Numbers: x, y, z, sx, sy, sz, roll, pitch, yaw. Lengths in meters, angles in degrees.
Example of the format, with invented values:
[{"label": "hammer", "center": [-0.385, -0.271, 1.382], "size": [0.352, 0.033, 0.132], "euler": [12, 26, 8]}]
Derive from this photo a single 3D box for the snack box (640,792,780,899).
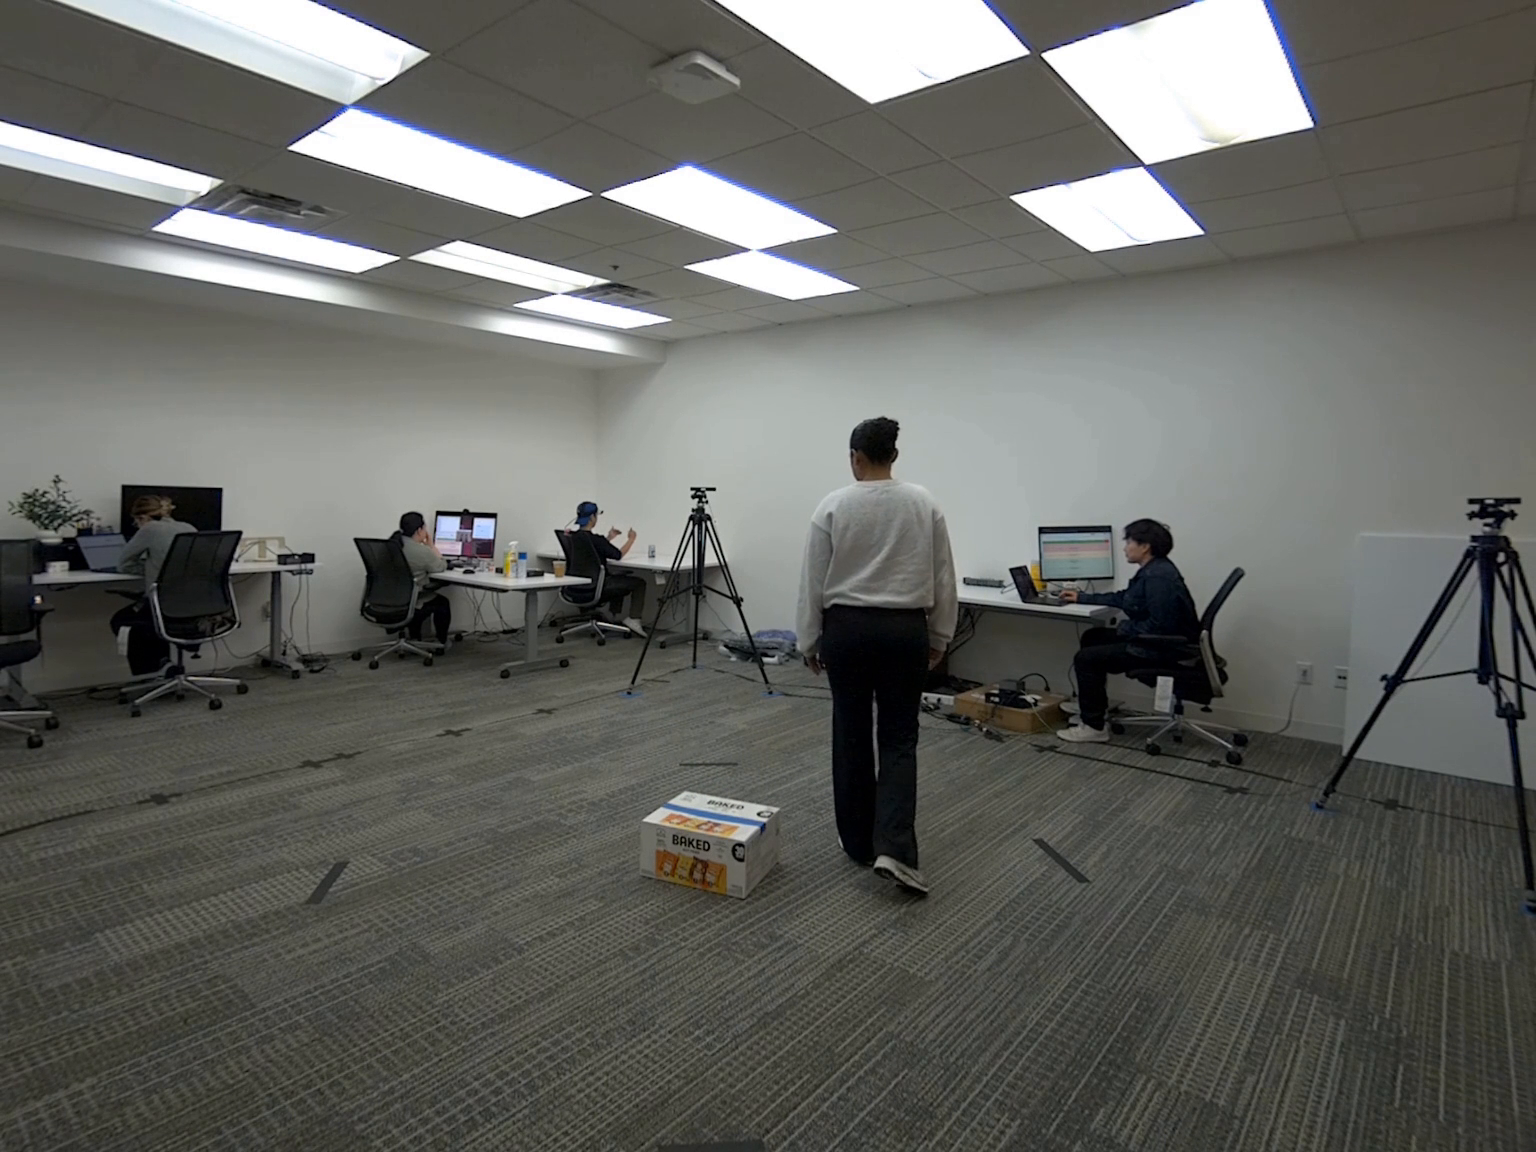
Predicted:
[{"label": "snack box", "center": [-0.215, 0.966, 3.100], "size": [0.415, 0.205, 0.333], "euler": [3, 5, 23]}]
